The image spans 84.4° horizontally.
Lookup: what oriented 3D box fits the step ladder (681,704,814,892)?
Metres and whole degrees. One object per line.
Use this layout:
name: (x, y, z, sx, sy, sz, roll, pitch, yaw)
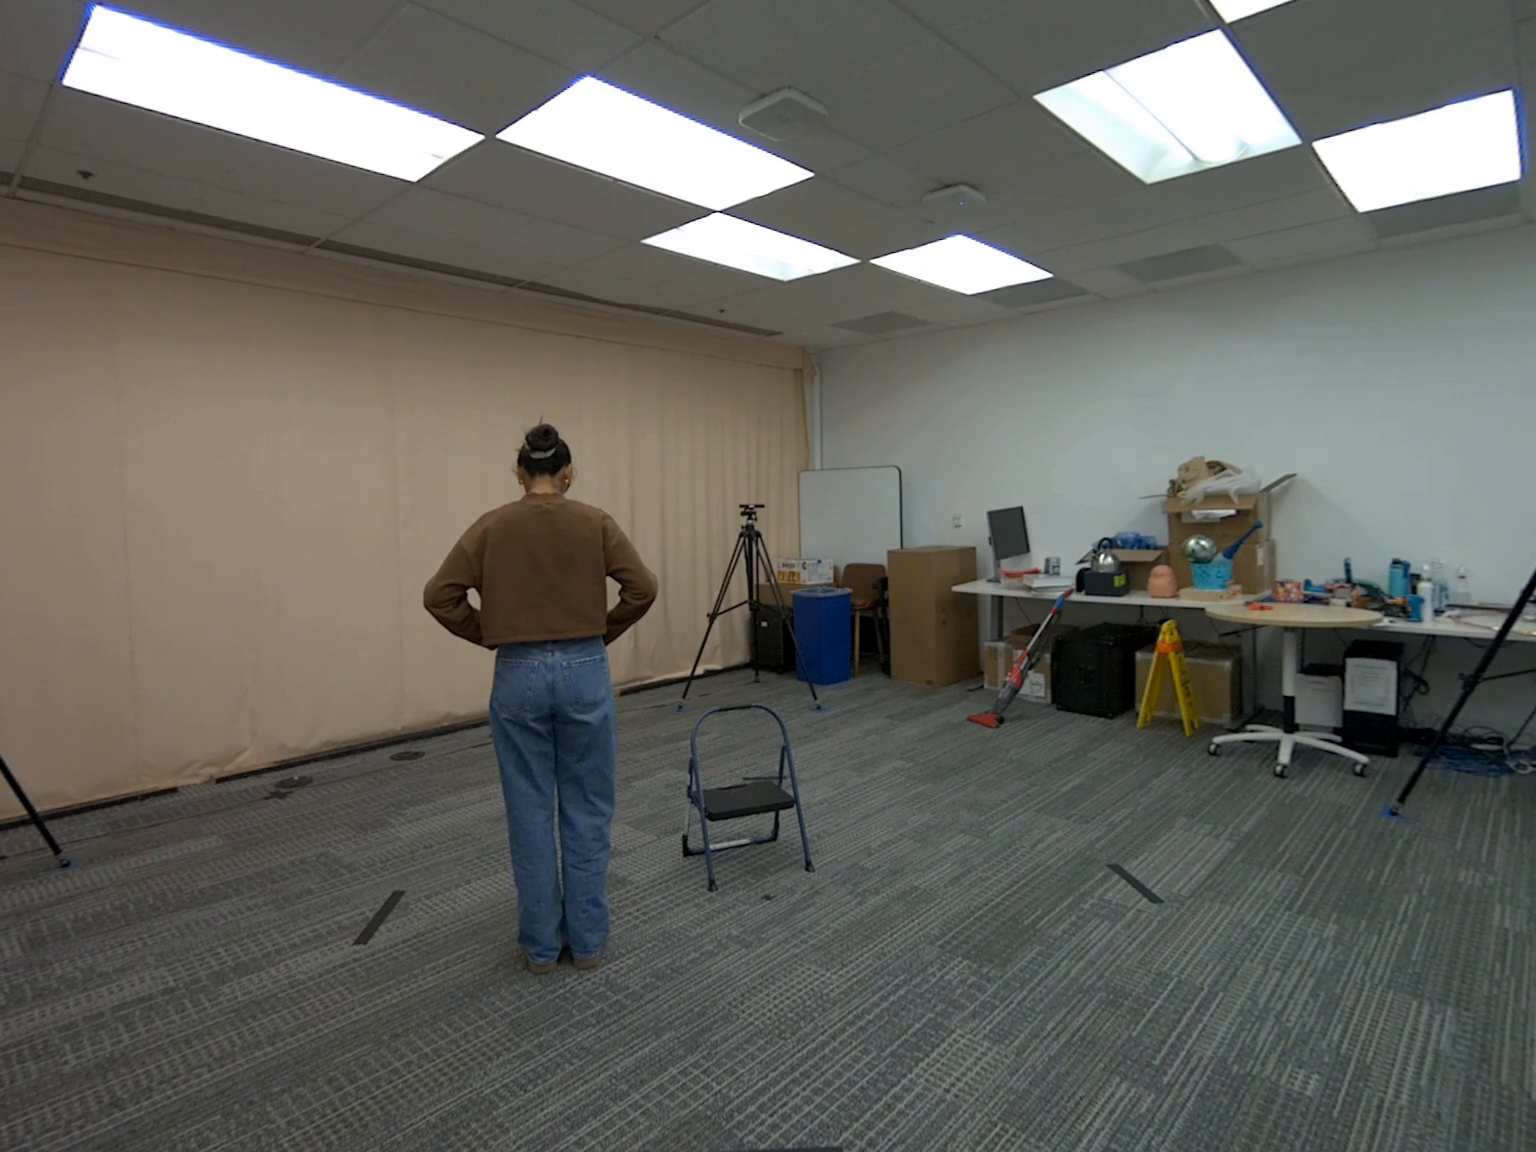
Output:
step ladder: (-0.086, 0.815, 3.260, 0.421, 0.605, 0.358, -3, 4, -23)
